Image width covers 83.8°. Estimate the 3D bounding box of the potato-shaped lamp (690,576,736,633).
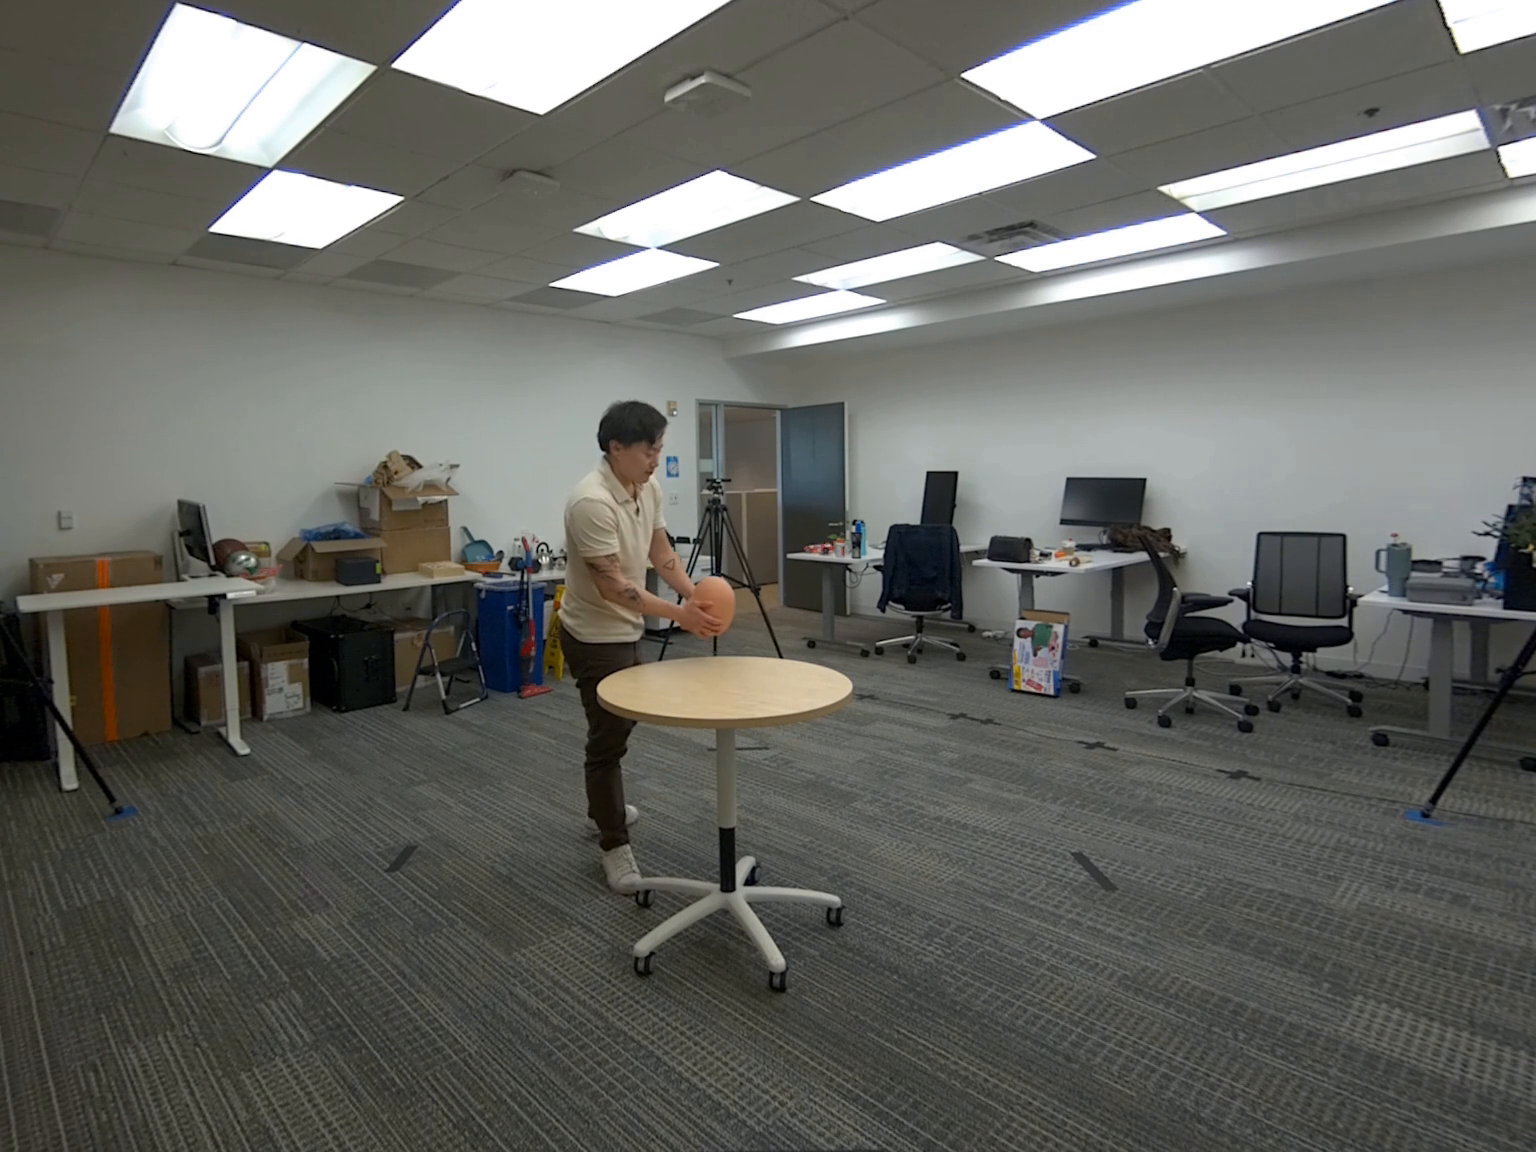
[{"bbox_3d":[-0.202,0.099,2.910,0.161,0.196,0.177,7,18,-23],"label":"potato-shaped lamp"}]
